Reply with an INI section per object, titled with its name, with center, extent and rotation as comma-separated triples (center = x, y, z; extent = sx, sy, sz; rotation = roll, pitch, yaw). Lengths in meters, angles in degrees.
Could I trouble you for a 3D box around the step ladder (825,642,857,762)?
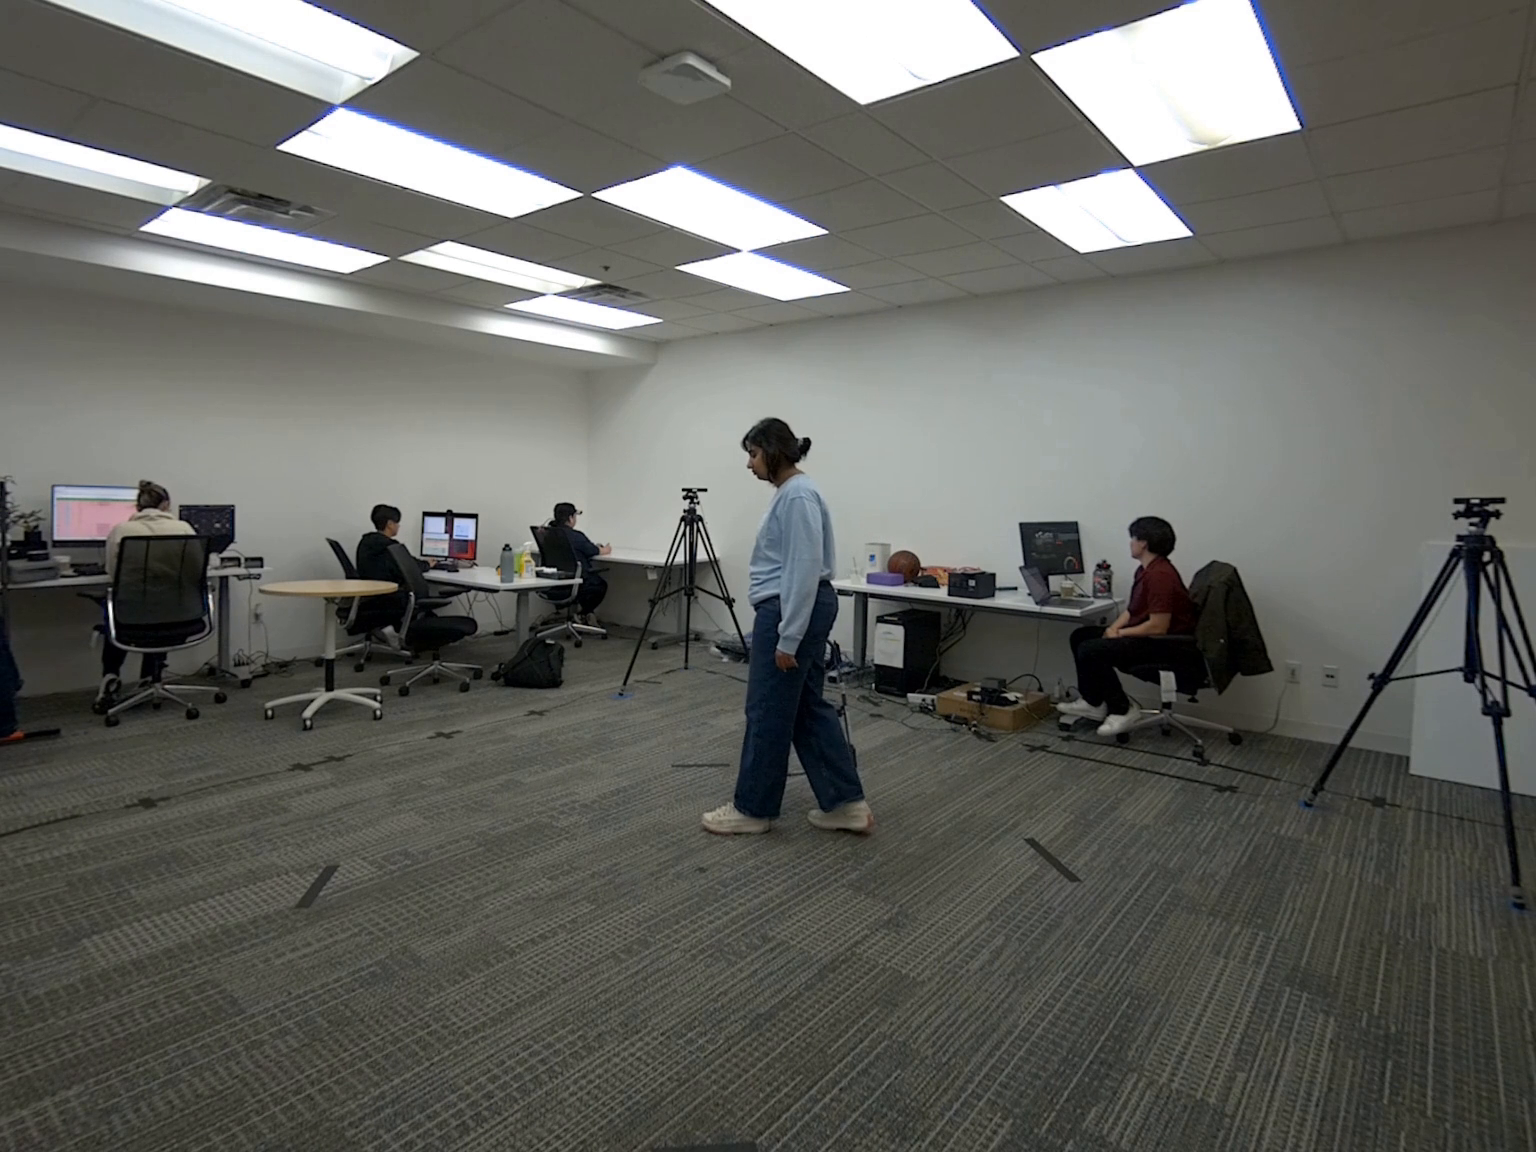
[step ladder]
center = 0.134, 0.562, 3.853
extent = 0.432, 0.609, 0.346
rotation = -8, -3, 4
